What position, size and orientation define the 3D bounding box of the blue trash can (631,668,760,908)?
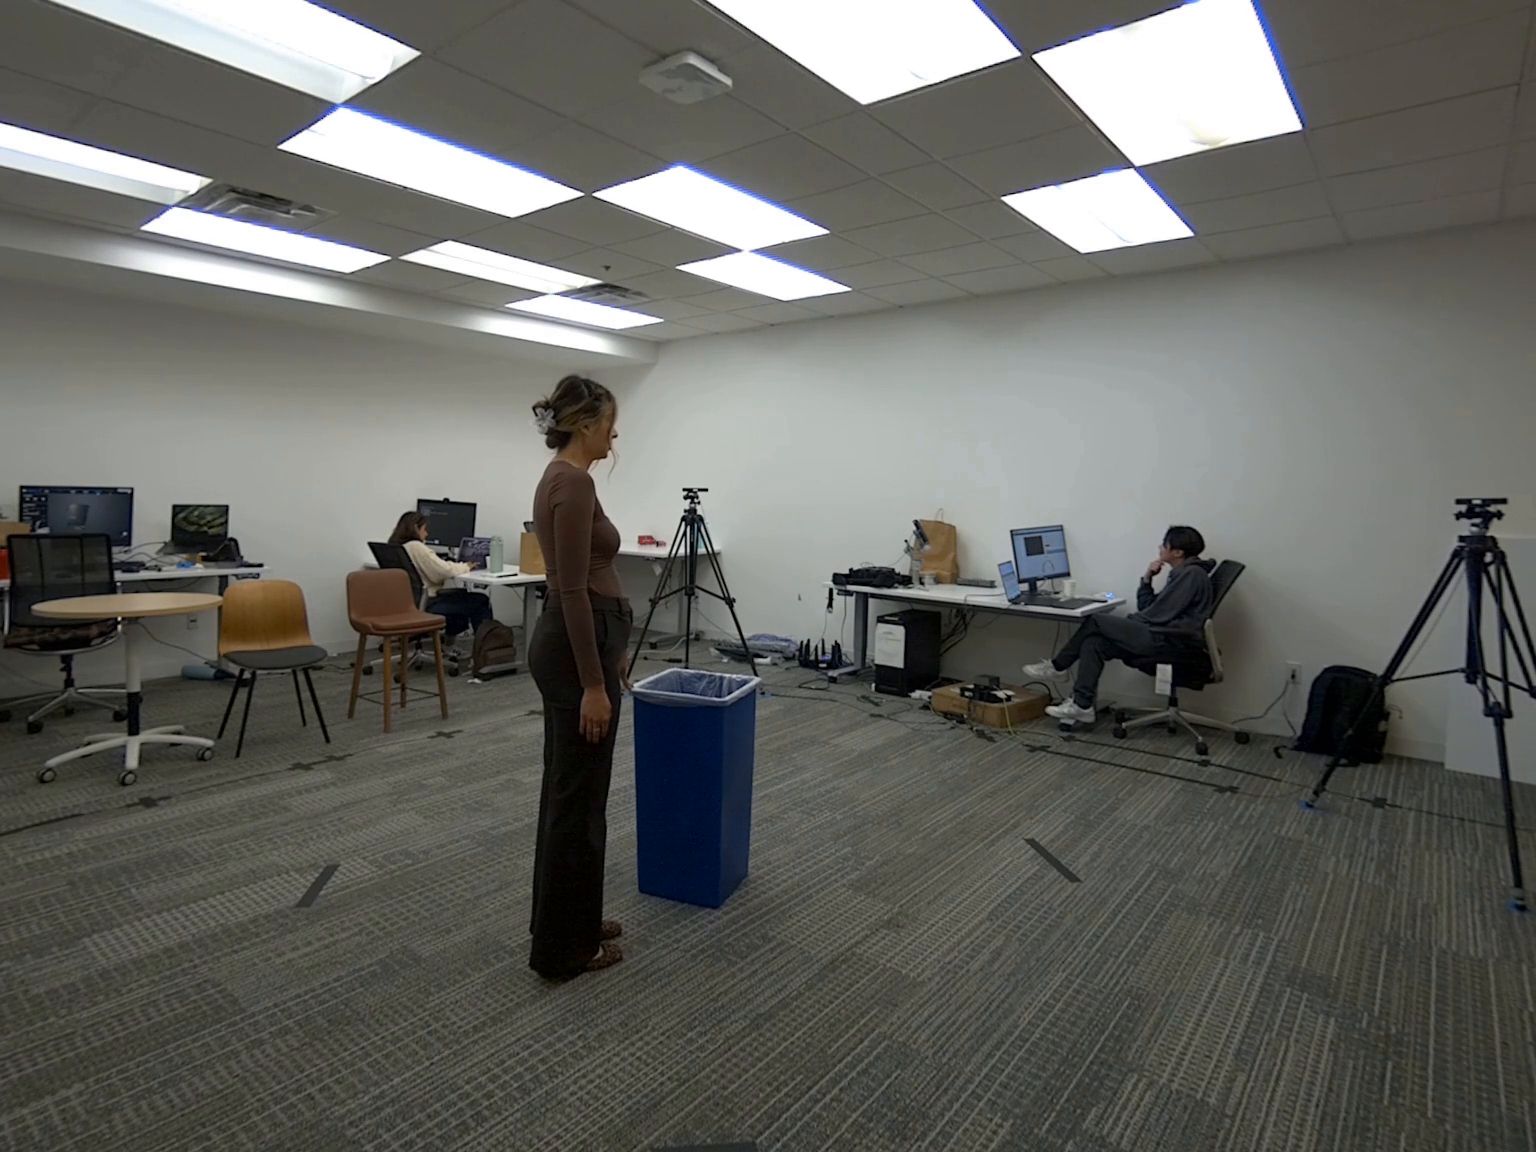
[{"bbox_3d":[-0.262,0.722,2.977,0.387,0.712,0.366,2,3,21],"label":"blue trash can"}]
